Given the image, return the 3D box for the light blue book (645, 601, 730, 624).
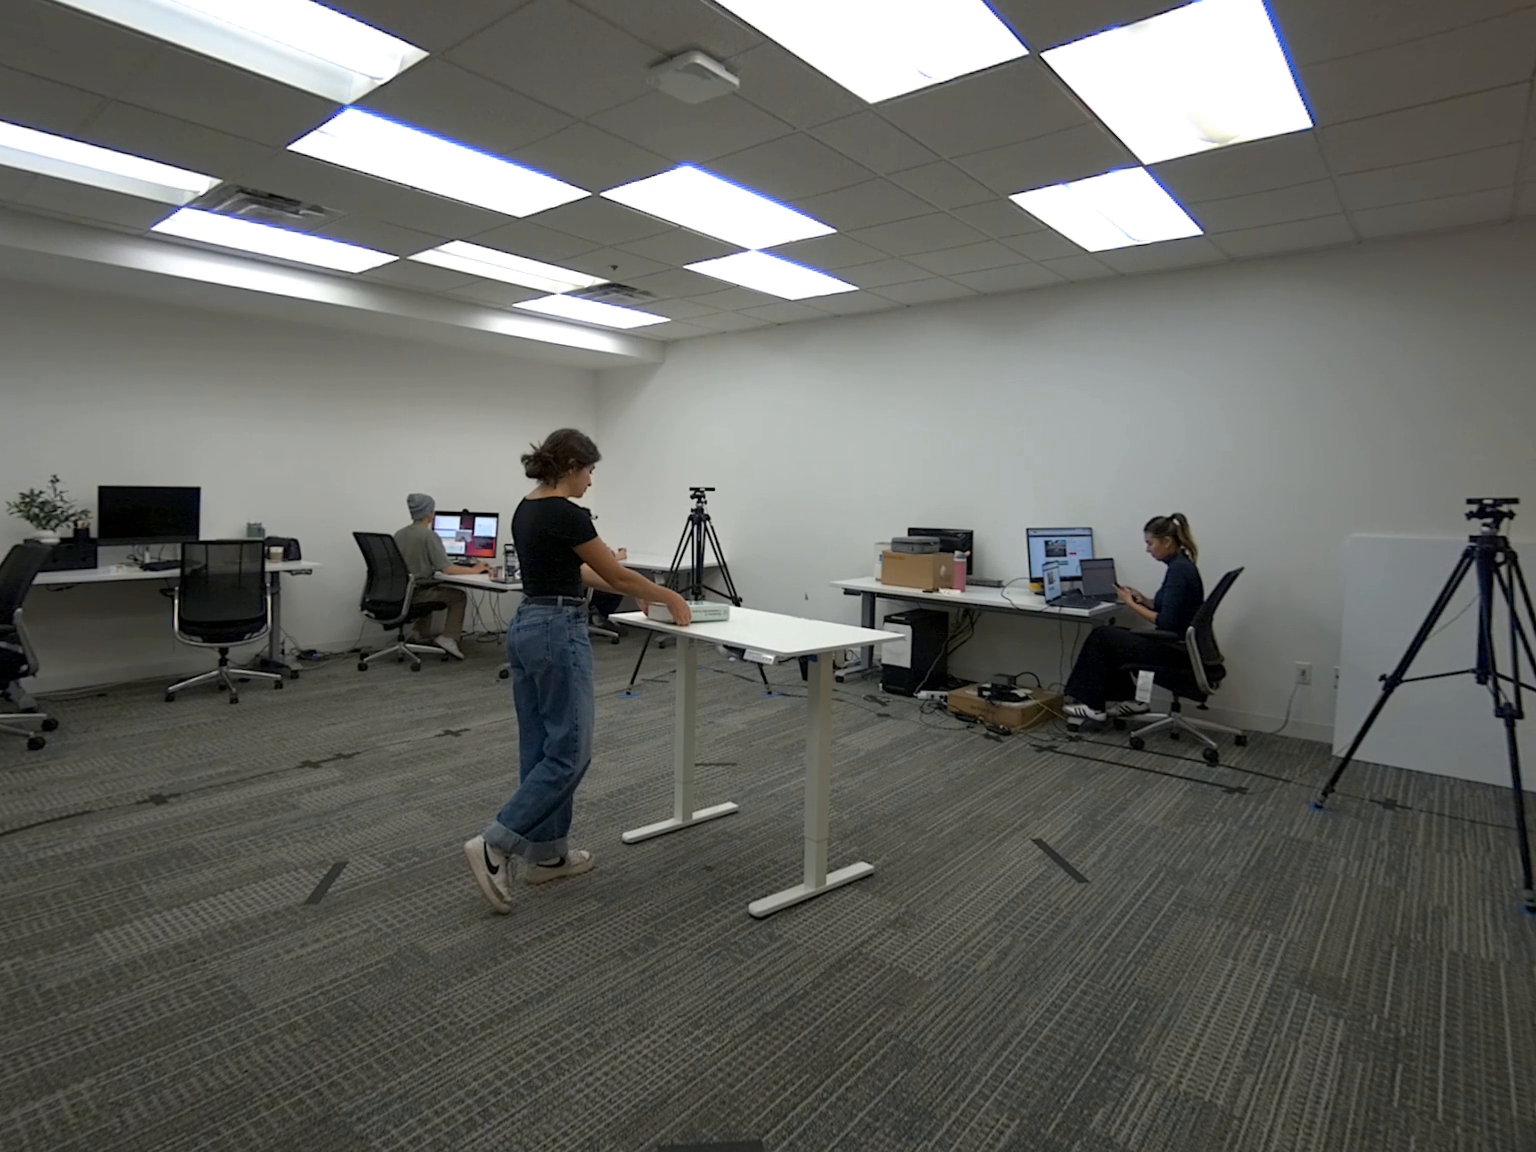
[{"bbox_3d":[-0.320,0.136,3.298,0.253,0.059,0.197,-1,3,-35],"label":"light blue book"}]
